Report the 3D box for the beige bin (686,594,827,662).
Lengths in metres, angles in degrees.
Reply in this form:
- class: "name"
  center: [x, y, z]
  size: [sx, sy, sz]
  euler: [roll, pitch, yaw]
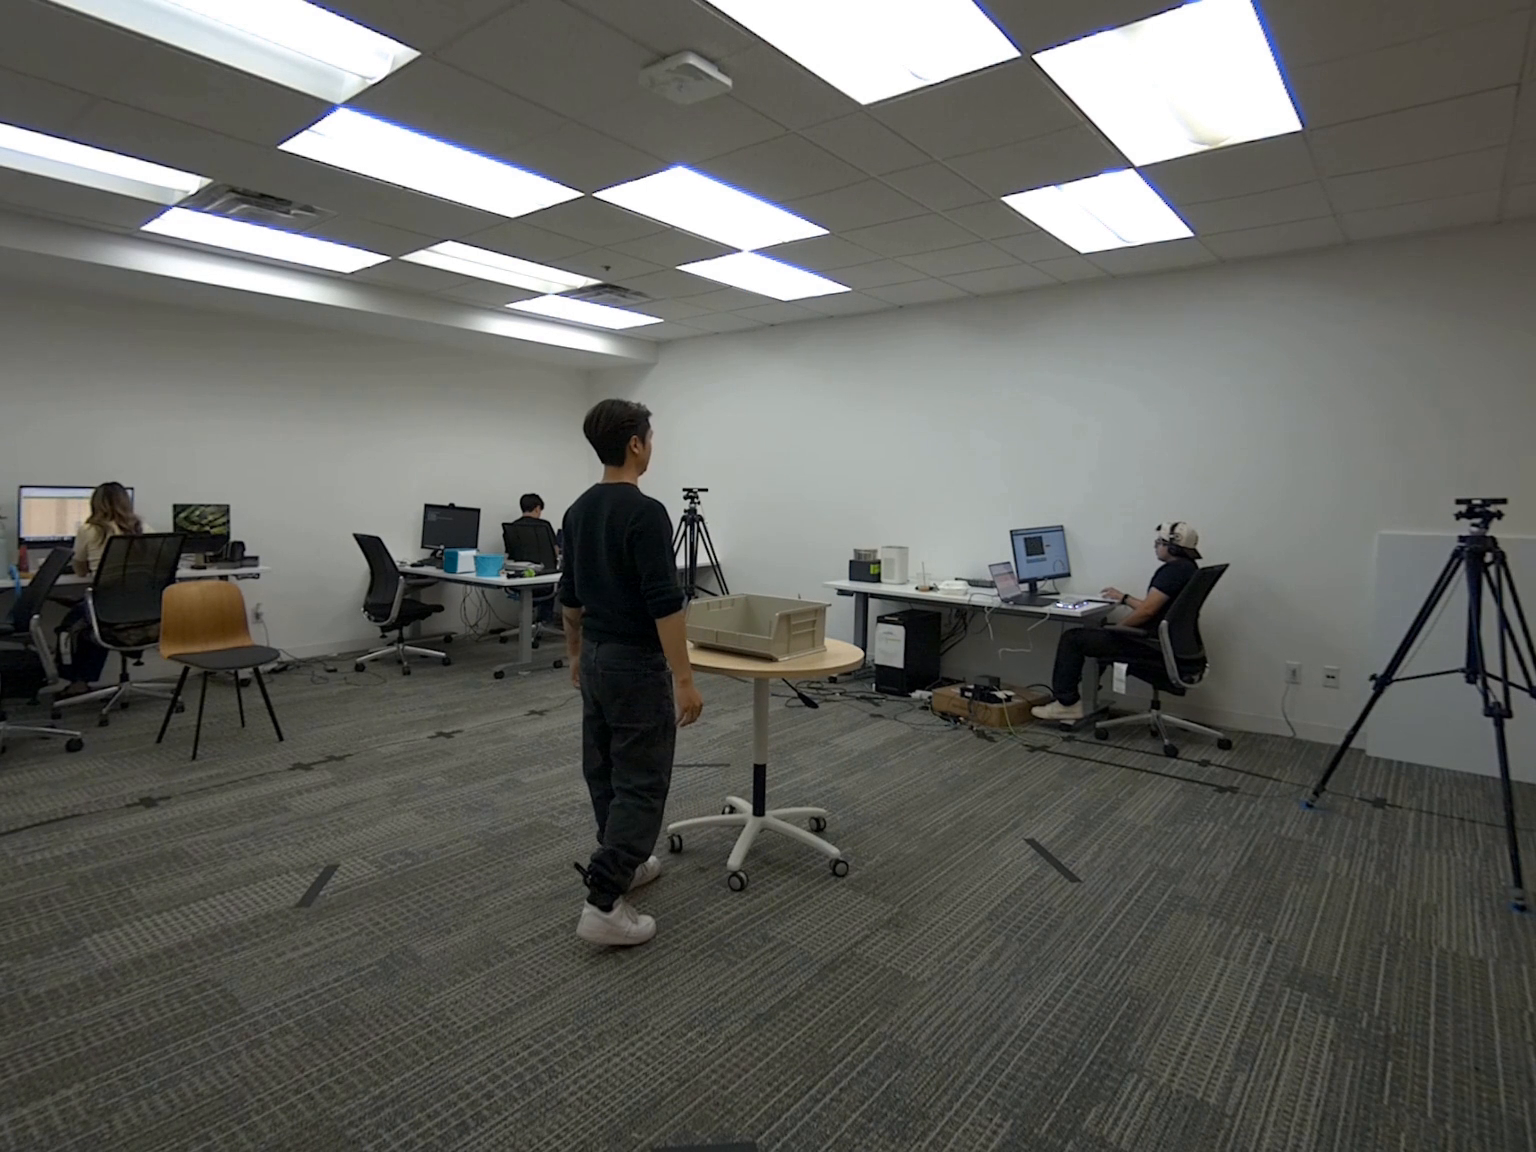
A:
- class: "beige bin"
  center: [-0.049, 0.189, 3.230]
  size: [0.436, 0.188, 0.366]
  euler: [5, 5, 38]
